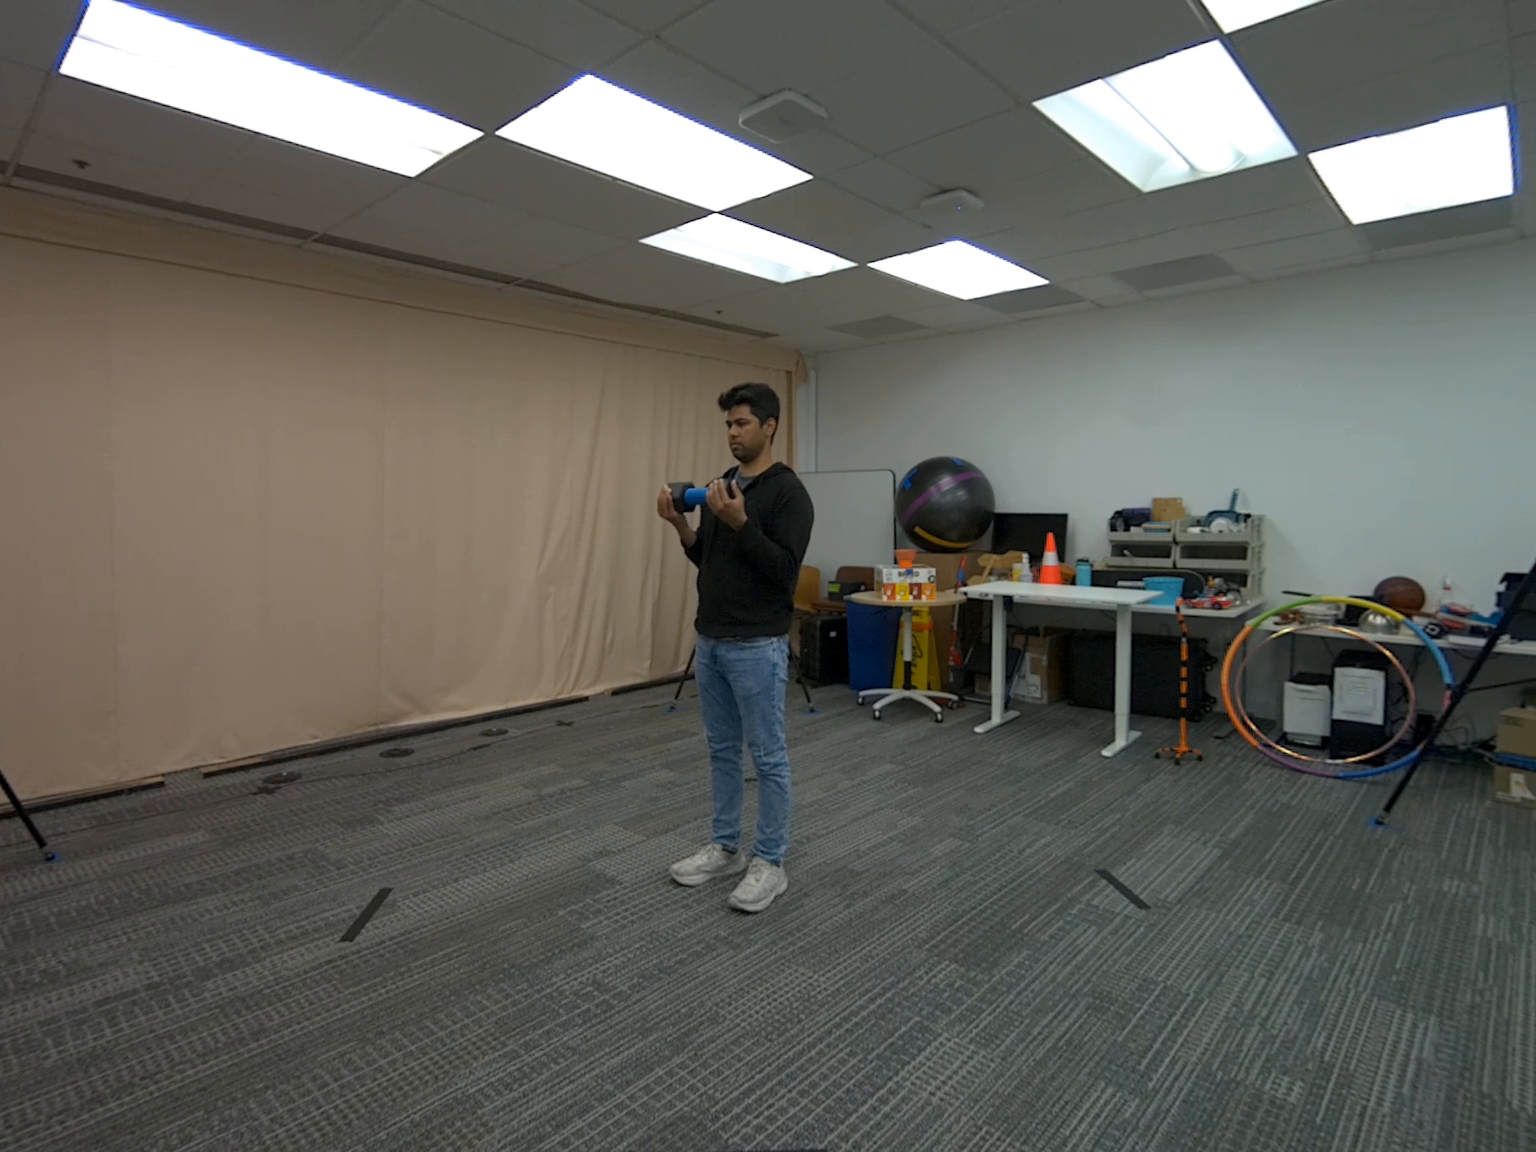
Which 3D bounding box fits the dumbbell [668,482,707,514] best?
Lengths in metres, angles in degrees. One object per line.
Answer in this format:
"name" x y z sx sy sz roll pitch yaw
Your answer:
"dumbbell" -0.219 -0.263 2.911 0.303 0.108 0.119 -1 4 40
